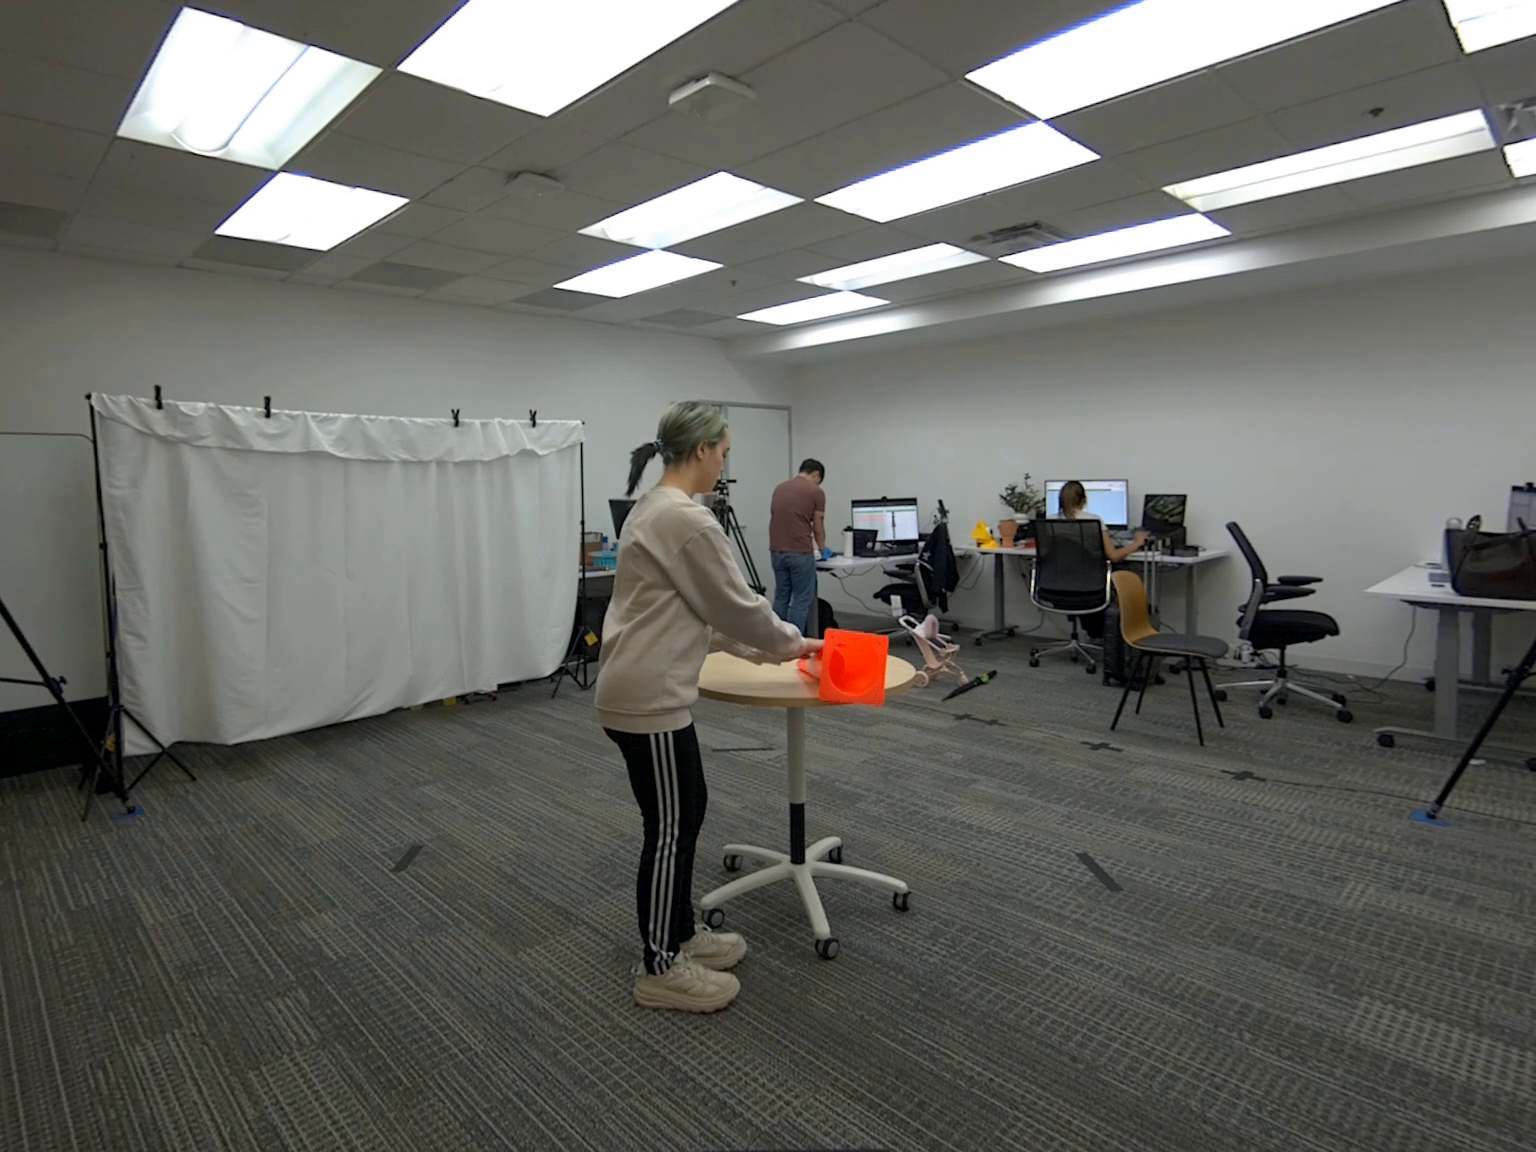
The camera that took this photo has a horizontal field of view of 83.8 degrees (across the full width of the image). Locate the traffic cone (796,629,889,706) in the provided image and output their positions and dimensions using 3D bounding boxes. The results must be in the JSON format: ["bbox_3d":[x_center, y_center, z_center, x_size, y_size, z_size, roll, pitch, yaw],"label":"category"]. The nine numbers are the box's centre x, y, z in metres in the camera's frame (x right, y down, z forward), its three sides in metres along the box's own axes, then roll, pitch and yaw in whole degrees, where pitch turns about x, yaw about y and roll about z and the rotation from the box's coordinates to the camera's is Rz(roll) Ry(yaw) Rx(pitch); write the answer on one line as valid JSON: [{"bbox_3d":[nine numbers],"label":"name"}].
[{"bbox_3d":[0.180,0.275,2.574,0.201,0.205,0.388,0,-7,-20],"label":"traffic cone"}]
